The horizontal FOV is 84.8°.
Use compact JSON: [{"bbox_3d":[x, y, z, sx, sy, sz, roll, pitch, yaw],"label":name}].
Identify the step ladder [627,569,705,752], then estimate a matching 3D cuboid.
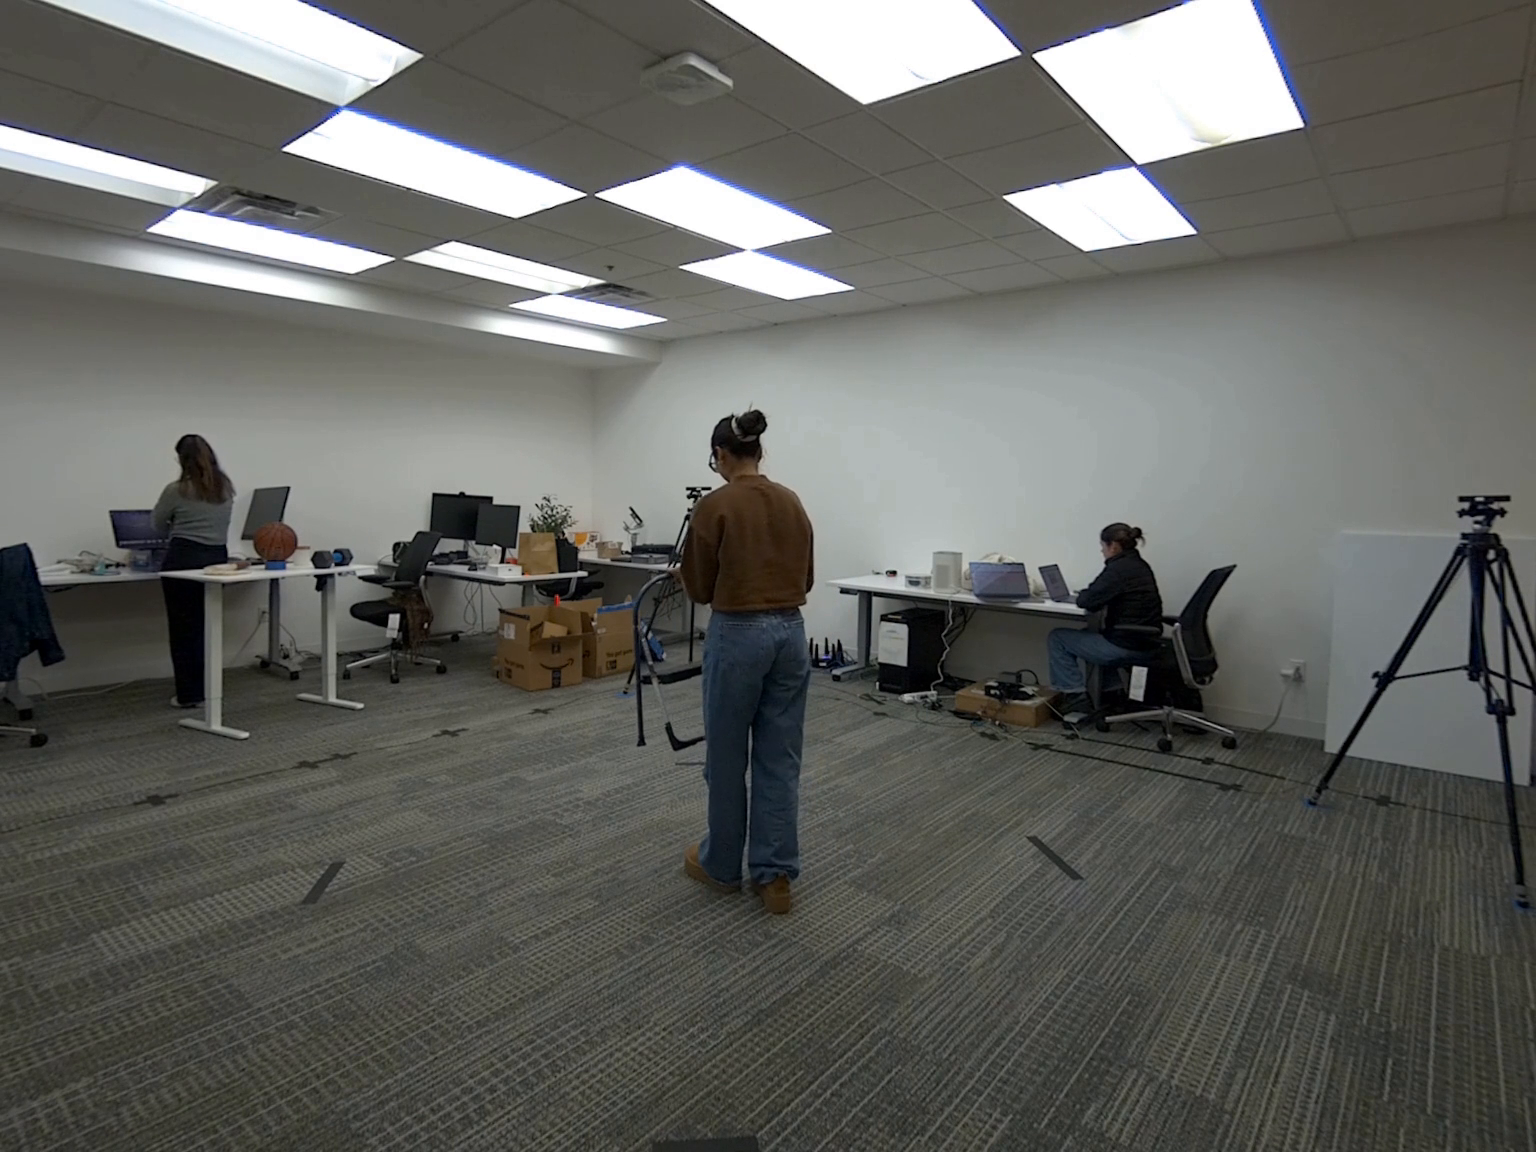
[{"bbox_3d":[-0.311,0.289,3.166,0.421,0.608,0.356,-12,-2,-32],"label":"step ladder"}]
